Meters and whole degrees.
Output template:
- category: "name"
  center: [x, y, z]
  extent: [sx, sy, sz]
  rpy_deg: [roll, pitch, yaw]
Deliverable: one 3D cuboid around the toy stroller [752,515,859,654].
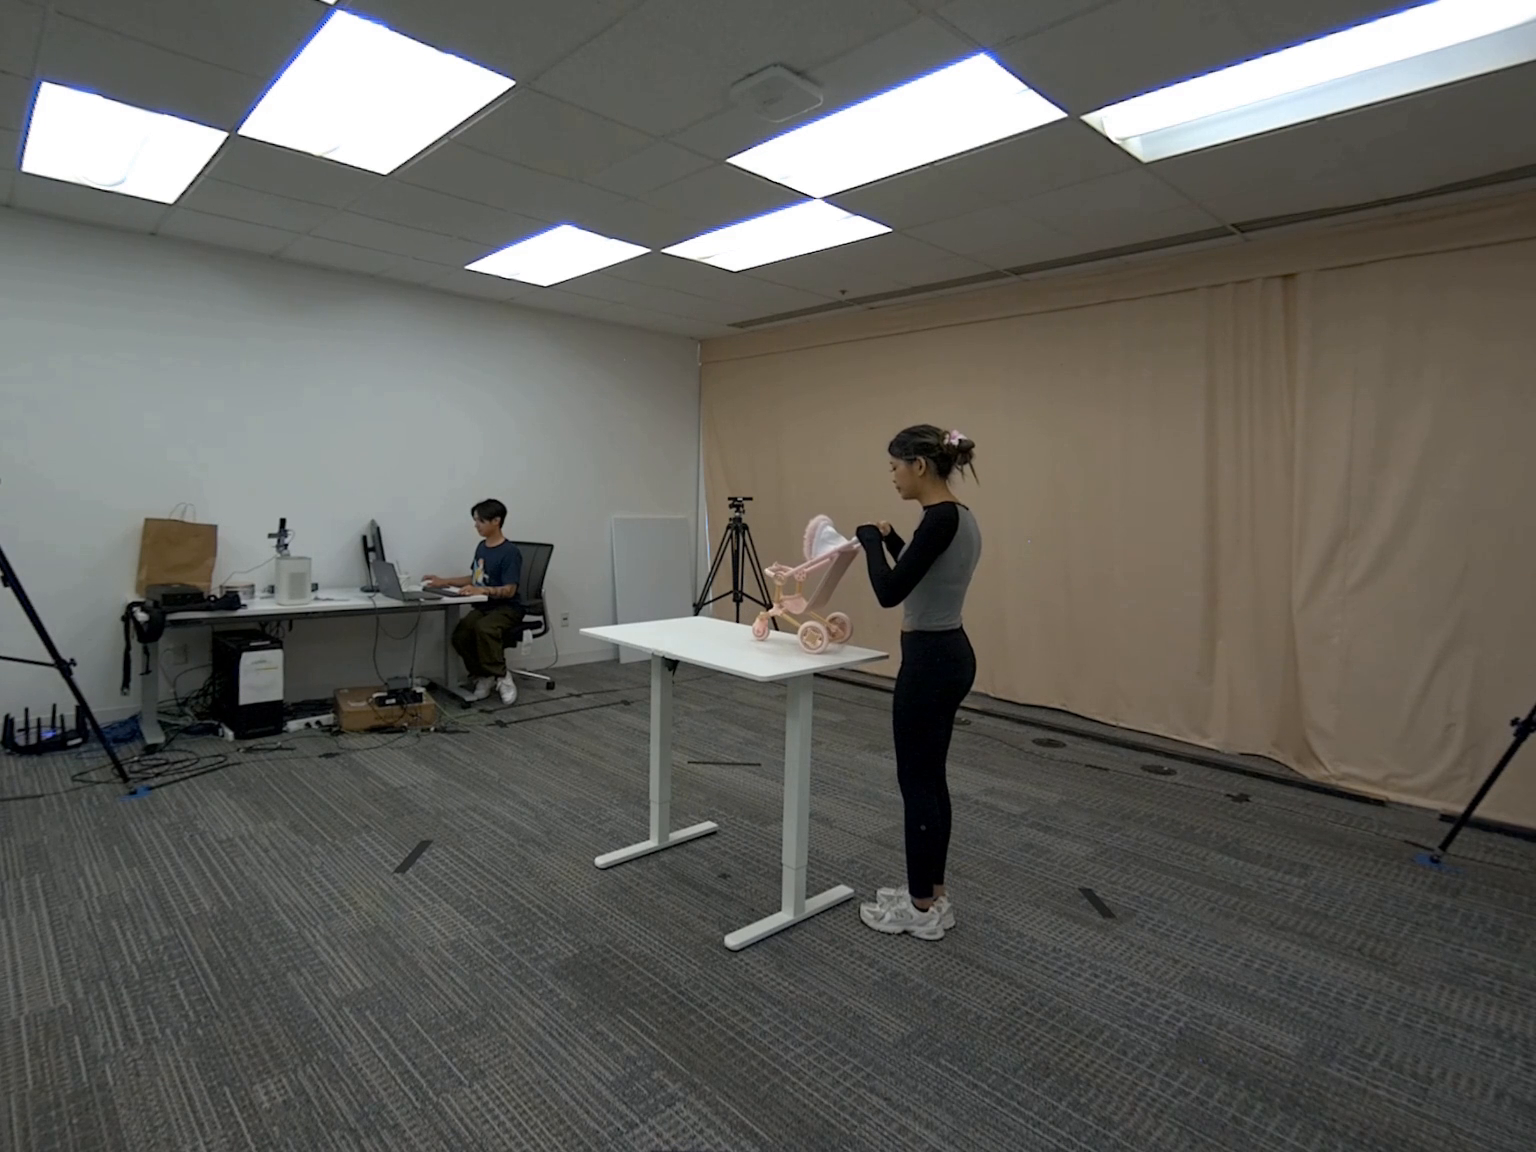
- category: "toy stroller"
  center: [0.152, 0.026, 2.930]
  extent: [0.350, 0.532, 0.276]
  rpy_deg: [23, 13, 28]
